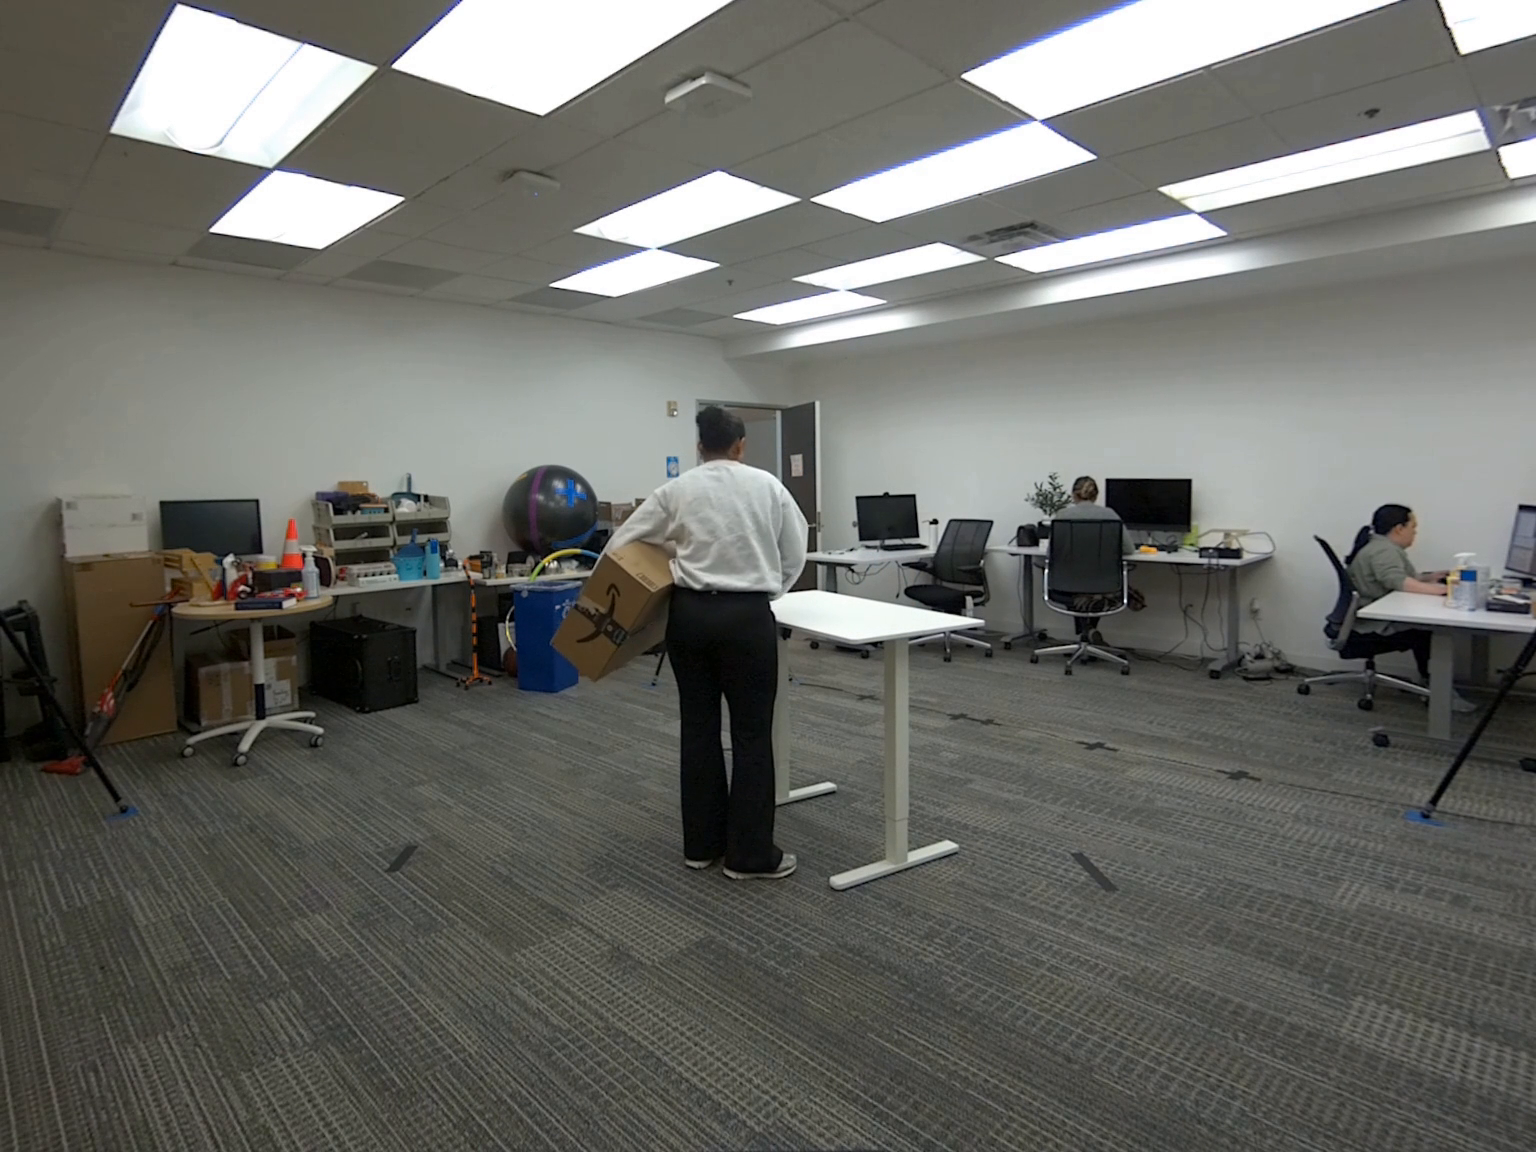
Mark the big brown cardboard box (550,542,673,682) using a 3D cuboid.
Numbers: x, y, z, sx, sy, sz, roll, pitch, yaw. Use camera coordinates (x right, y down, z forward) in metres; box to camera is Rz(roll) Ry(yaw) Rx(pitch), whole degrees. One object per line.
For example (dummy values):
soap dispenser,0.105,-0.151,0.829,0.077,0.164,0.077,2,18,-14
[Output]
big brown cardboard box,-0.479,0.086,3.137,0.236,0.416,0.583,37,21,8
